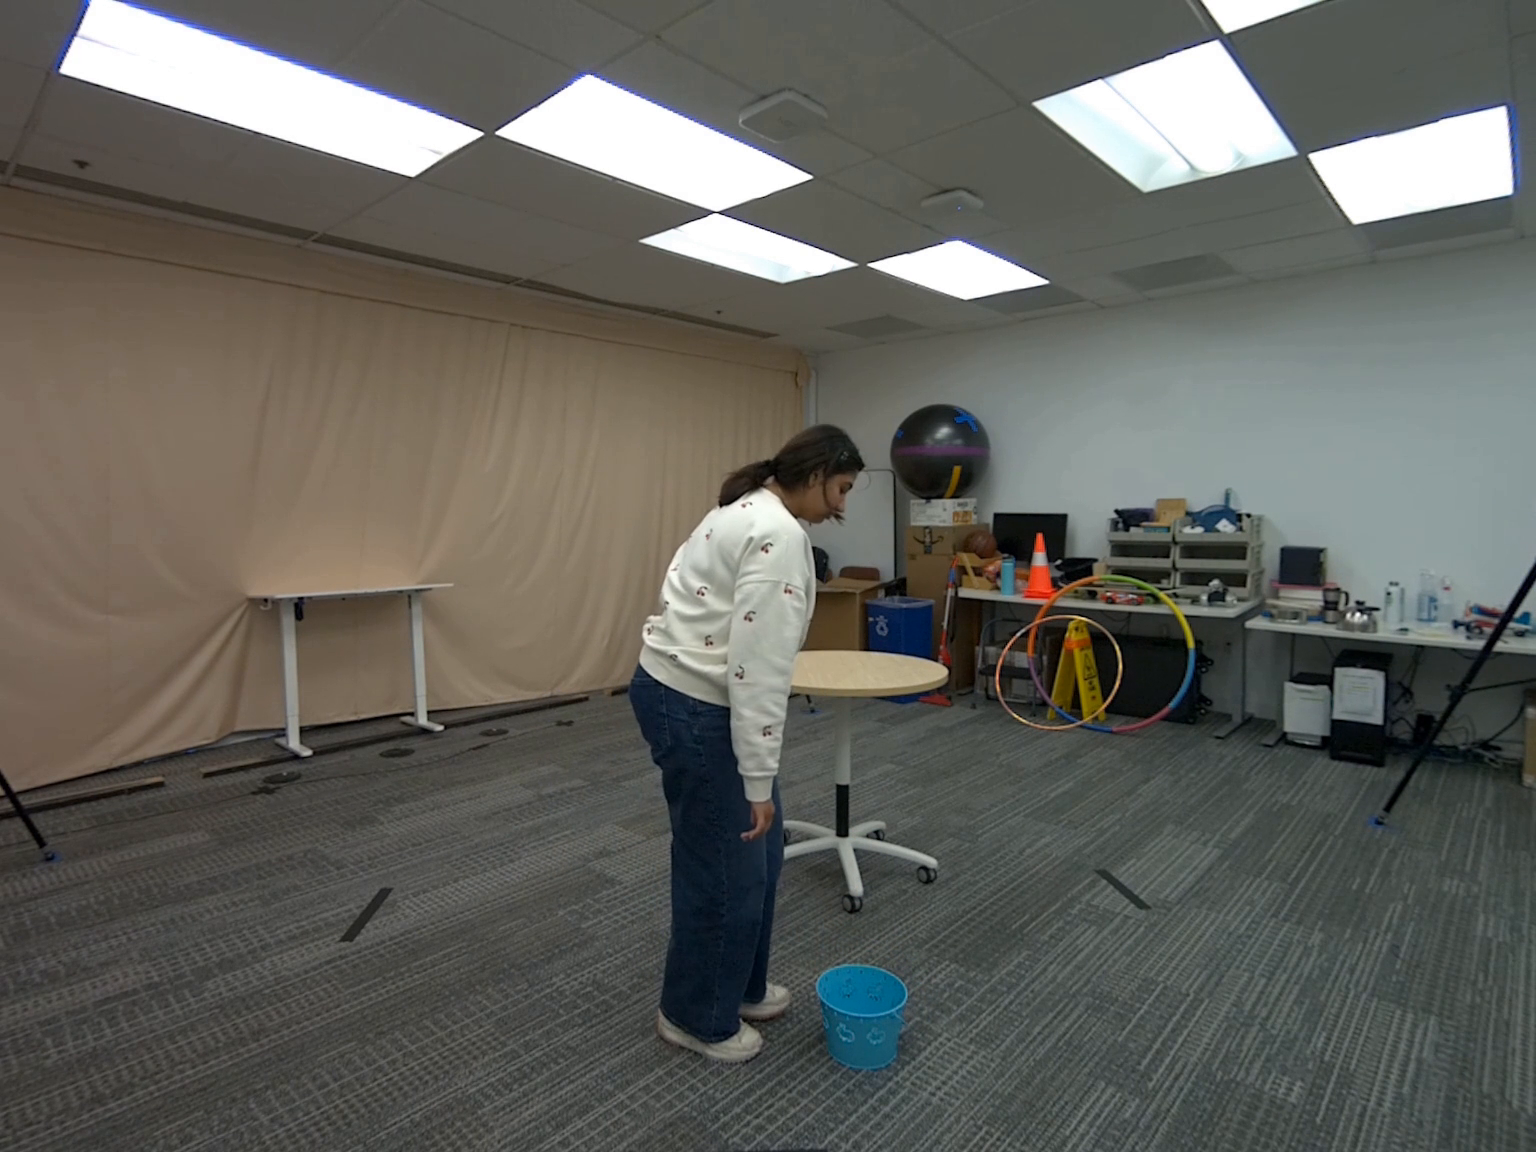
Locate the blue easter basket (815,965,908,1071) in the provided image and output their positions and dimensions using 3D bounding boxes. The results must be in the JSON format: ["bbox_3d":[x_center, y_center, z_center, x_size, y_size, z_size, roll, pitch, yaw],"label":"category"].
[{"bbox_3d":[0.253,1.140,2.150,0.243,0.155,0.244,0,4,-2],"label":"blue easter basket"}]
